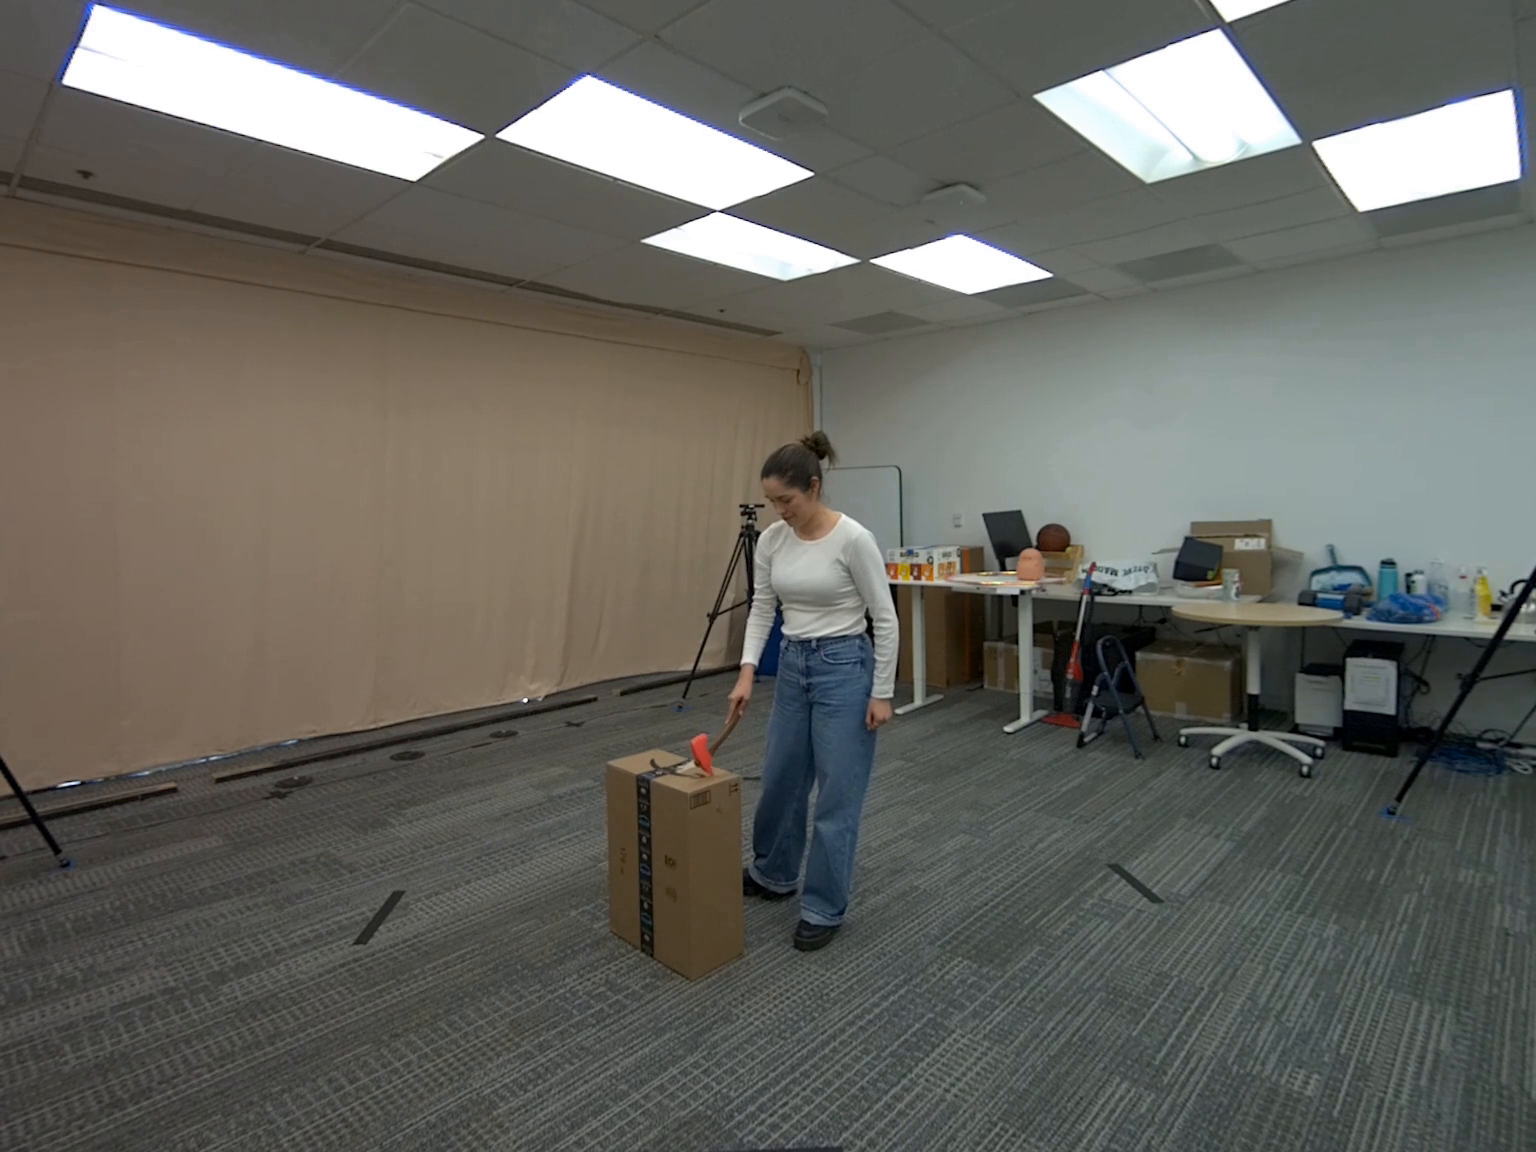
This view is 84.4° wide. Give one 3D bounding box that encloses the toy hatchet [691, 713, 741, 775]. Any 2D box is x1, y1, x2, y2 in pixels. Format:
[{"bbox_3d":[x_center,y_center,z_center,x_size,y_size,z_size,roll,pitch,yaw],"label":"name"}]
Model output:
[{"bbox_3d":[-0.160,0.477,2.592,0.030,0.270,0.127,-5,-43,50],"label":"toy hatchet"}]
